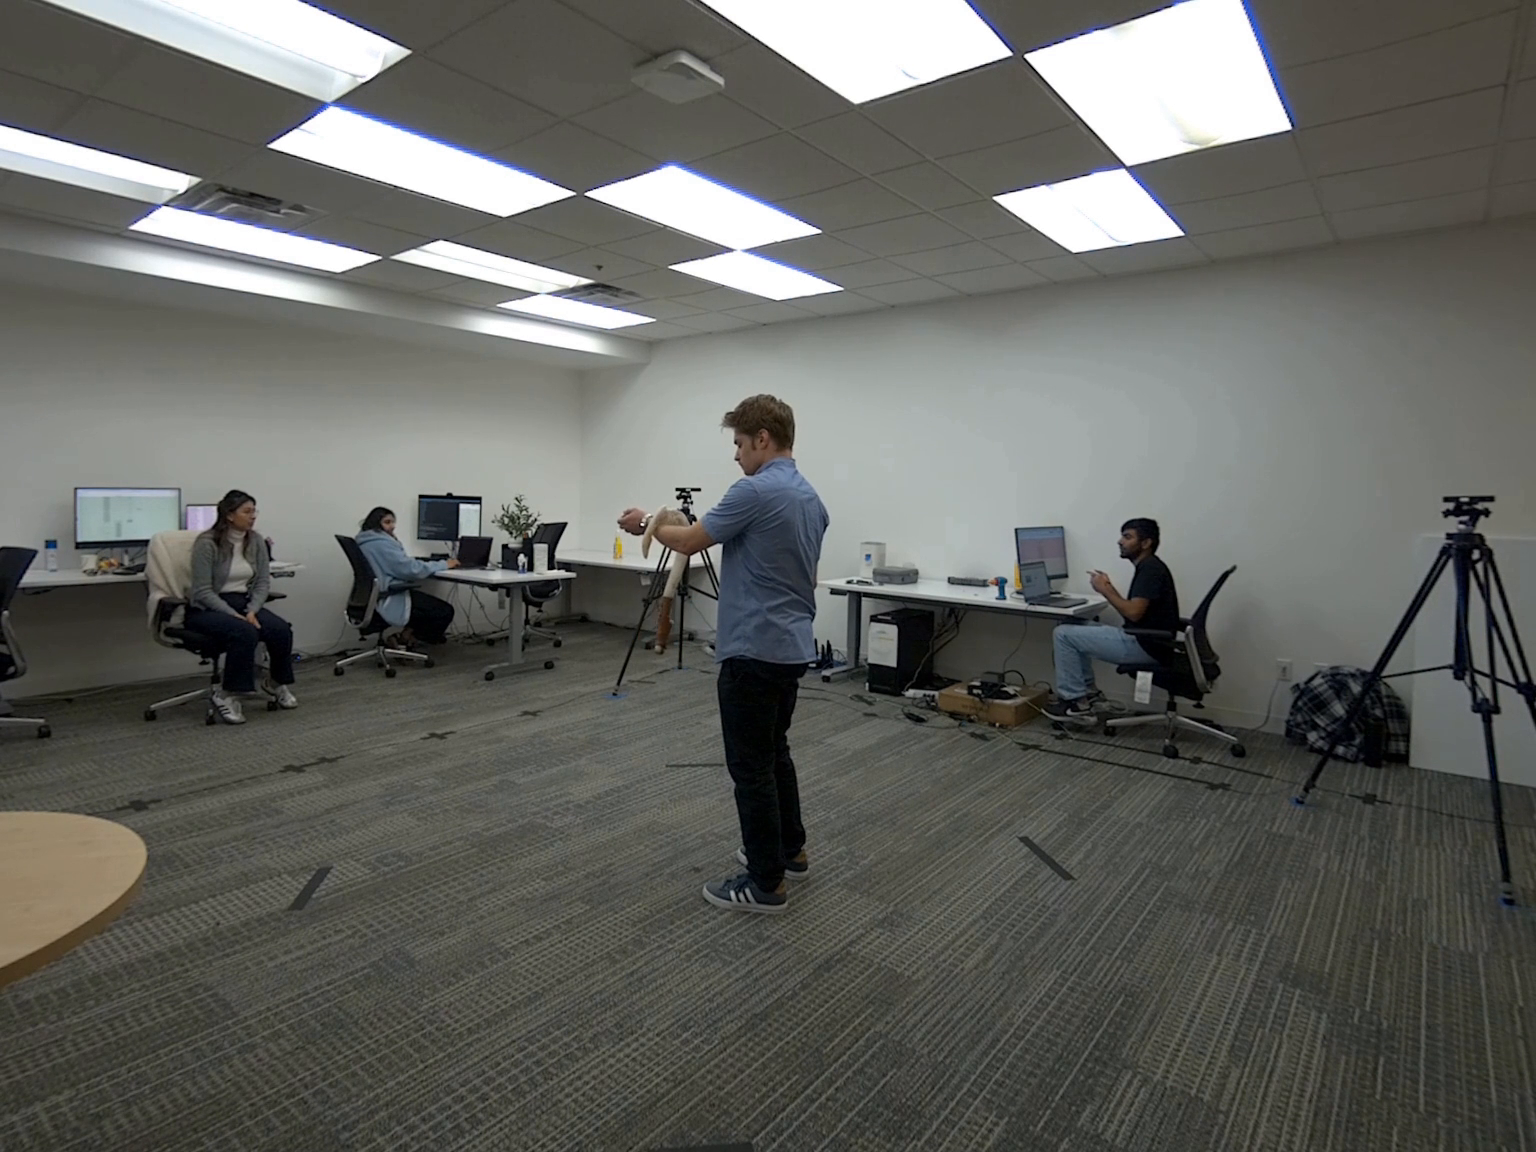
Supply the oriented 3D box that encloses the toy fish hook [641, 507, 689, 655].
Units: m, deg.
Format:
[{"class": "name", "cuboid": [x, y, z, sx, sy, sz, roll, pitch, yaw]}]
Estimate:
[{"class": "toy fish hook", "cuboid": [-0.387, 0.012, 2.939, 0.216, 0.510, 0.050, 16, -11, -42]}]
